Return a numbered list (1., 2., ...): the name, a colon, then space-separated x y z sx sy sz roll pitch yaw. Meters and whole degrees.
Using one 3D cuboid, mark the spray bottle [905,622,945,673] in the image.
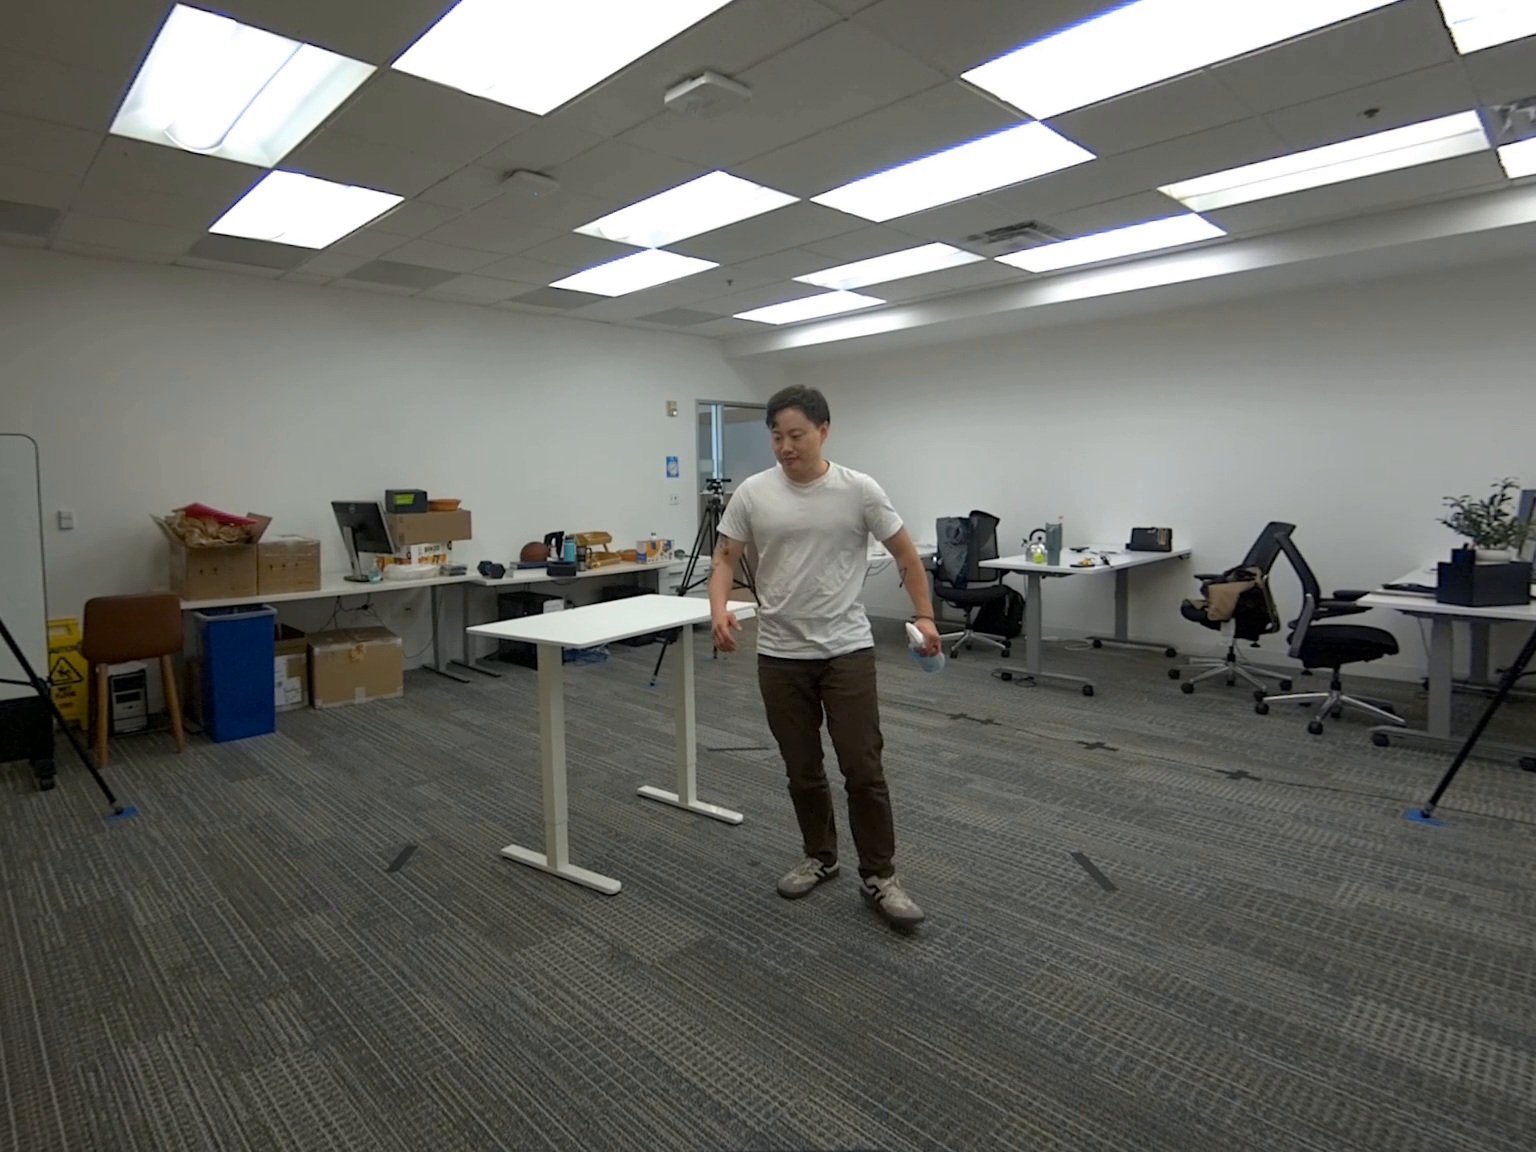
1. spray bottle: 0.491 0.236 2.725 0.088 0.092 0.286 -13 -31 20
